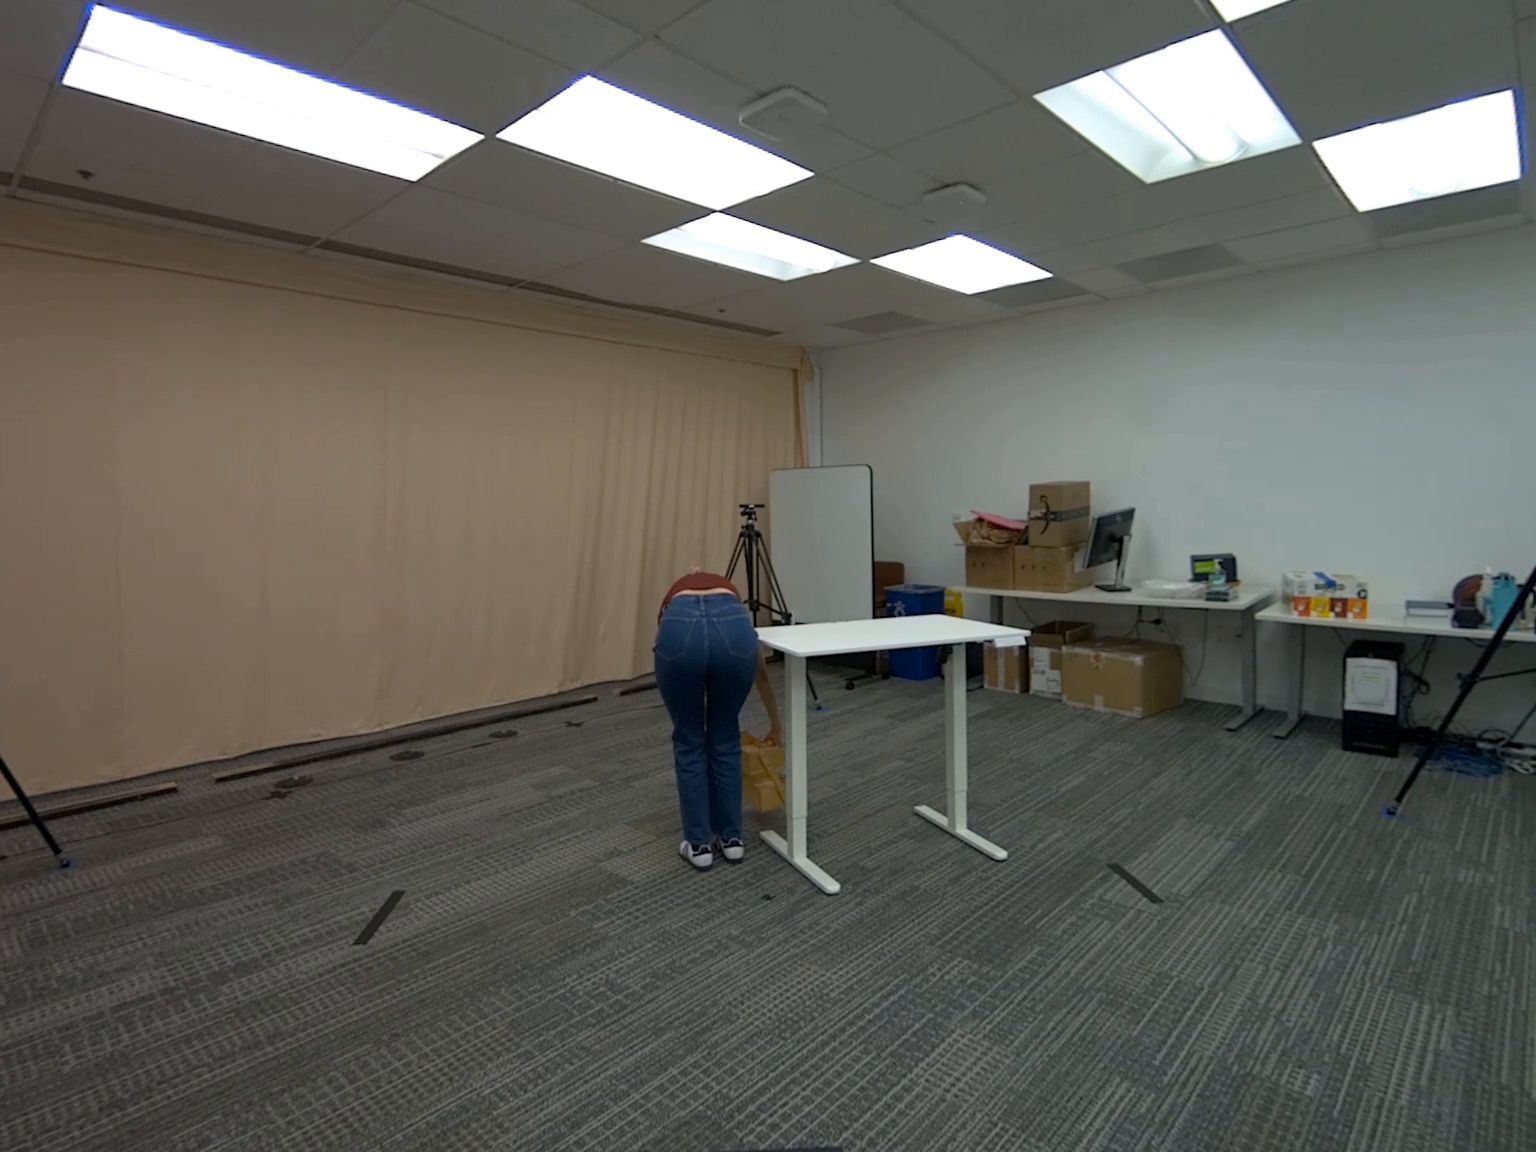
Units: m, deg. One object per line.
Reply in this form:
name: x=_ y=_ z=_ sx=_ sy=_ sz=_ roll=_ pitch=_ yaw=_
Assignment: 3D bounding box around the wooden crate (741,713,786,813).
wooden crate: x=-0.025 y=0.829 z=3.673 sx=0.294 sy=0.272 sz=0.334 roll=-5 pitch=6 yaw=-30
